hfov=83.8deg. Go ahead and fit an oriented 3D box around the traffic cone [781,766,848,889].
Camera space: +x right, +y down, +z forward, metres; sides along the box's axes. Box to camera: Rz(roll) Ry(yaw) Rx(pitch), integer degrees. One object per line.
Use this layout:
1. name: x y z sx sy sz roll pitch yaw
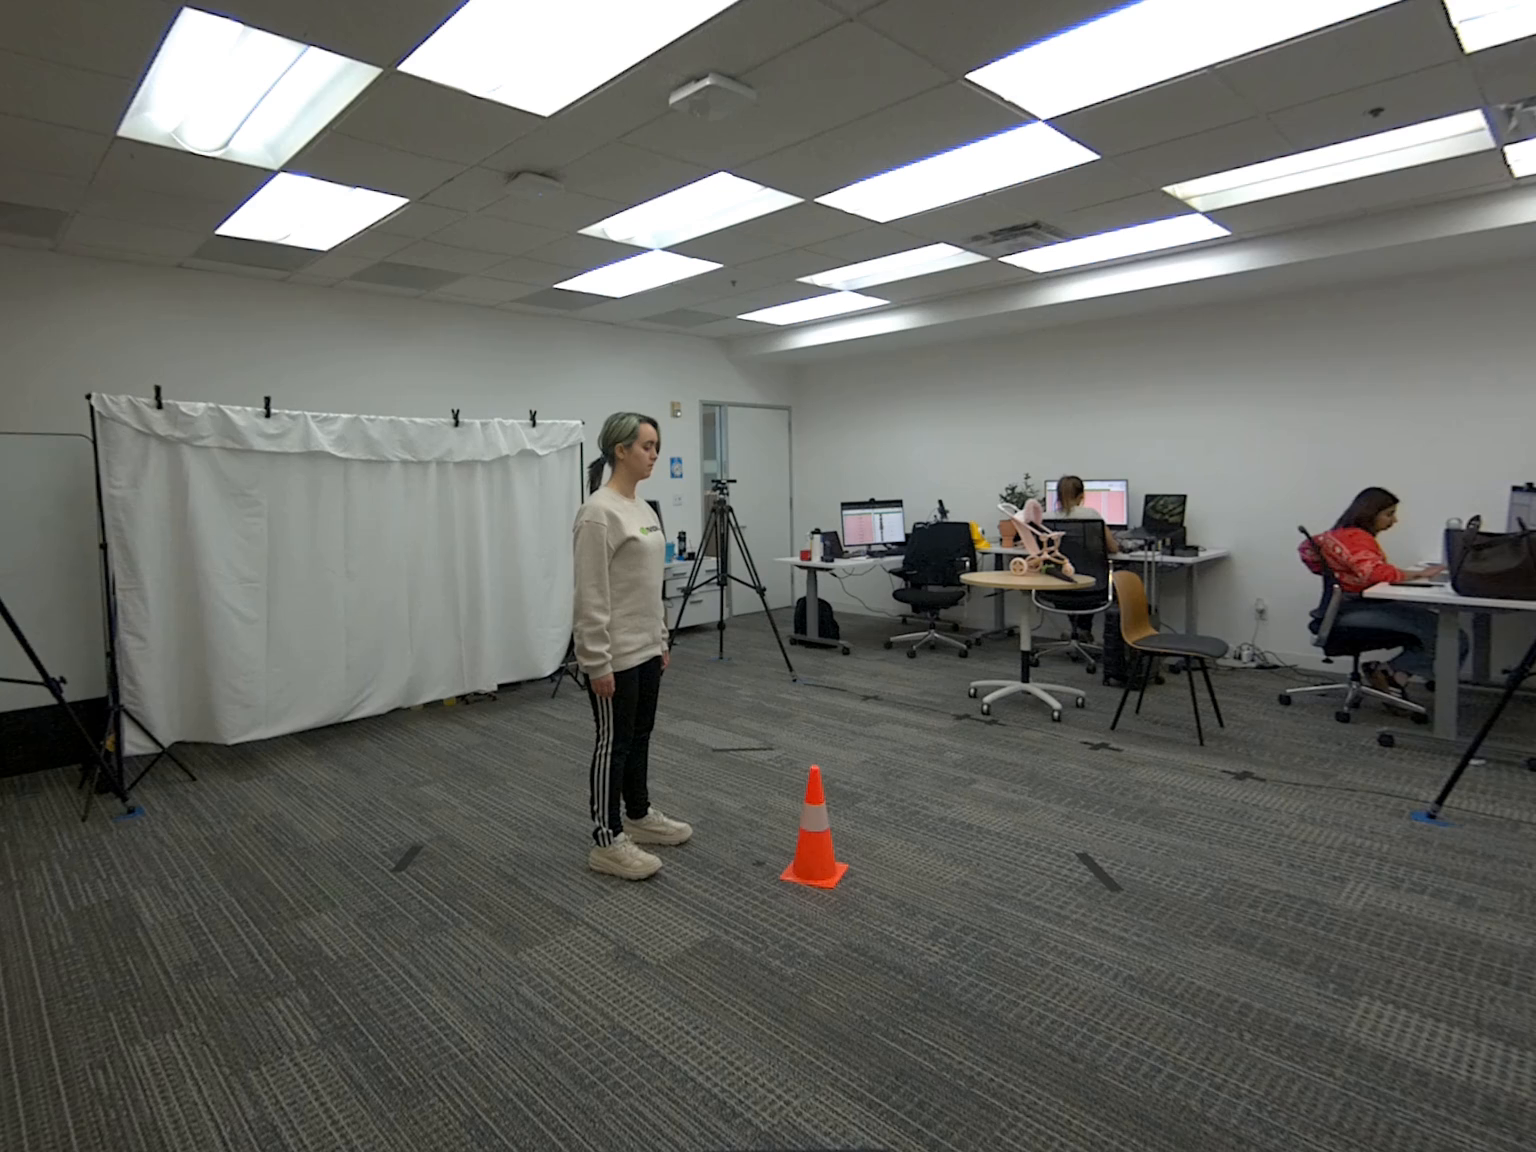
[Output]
1. traffic cone: 0.163 0.863 3.016 0.208 0.382 0.201 2 6 28
